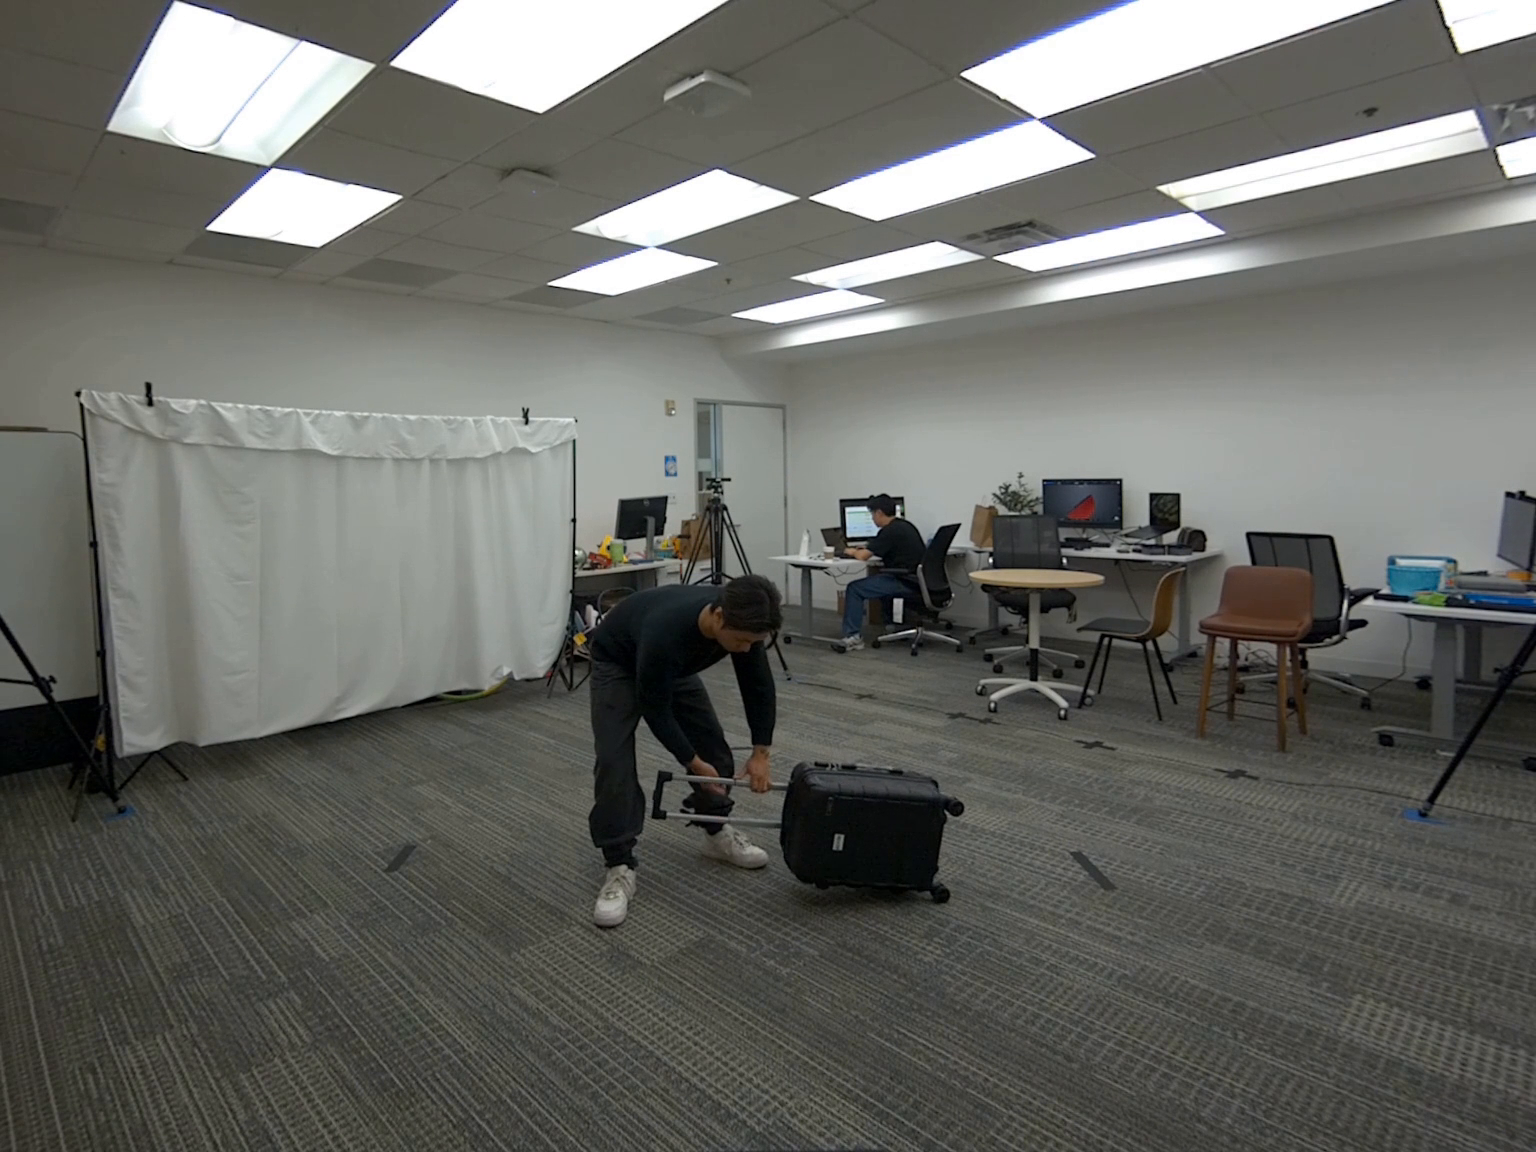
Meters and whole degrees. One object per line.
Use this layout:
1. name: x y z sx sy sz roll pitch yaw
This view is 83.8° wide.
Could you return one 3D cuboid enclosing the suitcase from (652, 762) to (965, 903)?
1. suitcase: 0.127 0.799 2.809 0.966 0.383 0.261 8 3 -12
